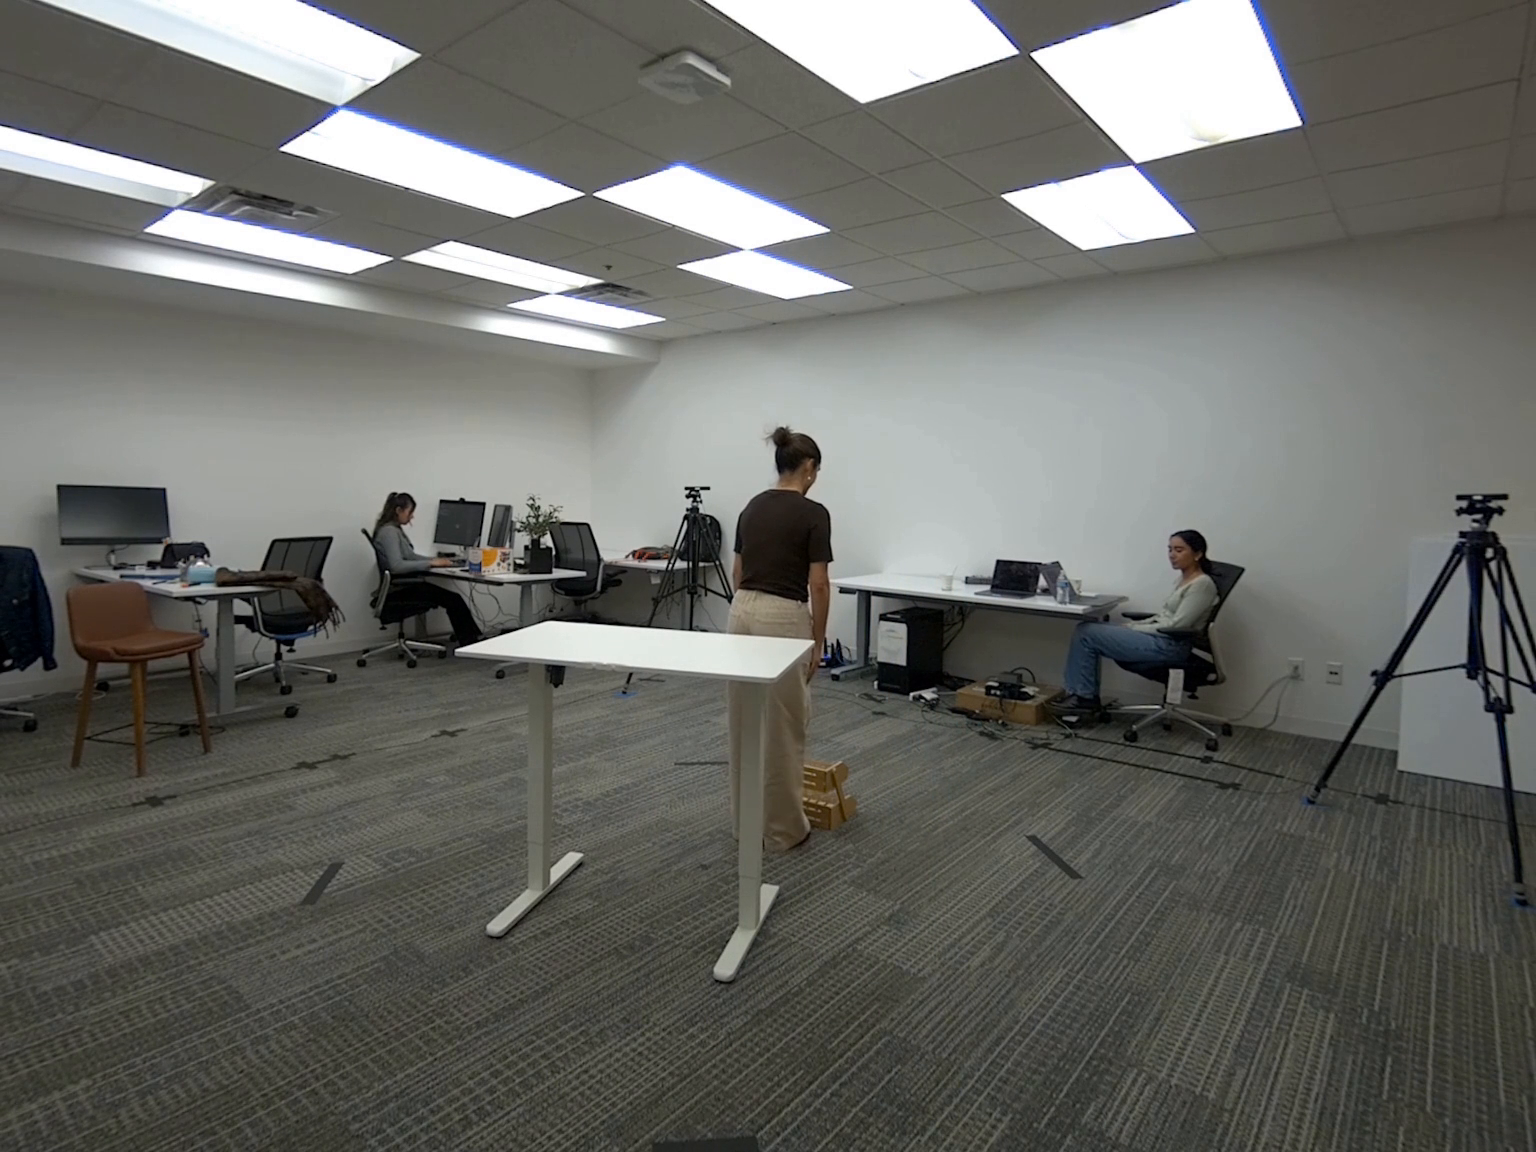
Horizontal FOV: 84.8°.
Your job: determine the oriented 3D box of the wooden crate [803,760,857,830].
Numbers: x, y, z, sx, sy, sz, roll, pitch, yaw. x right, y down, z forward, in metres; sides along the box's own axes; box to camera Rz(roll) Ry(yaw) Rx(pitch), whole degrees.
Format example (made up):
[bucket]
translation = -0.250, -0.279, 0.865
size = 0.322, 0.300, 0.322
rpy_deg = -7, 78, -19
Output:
[wooden crate]
translation = 0.175, 0.887, 3.637
size = 0.334, 0.272, 0.294
rpy_deg = 4, 6, 33
